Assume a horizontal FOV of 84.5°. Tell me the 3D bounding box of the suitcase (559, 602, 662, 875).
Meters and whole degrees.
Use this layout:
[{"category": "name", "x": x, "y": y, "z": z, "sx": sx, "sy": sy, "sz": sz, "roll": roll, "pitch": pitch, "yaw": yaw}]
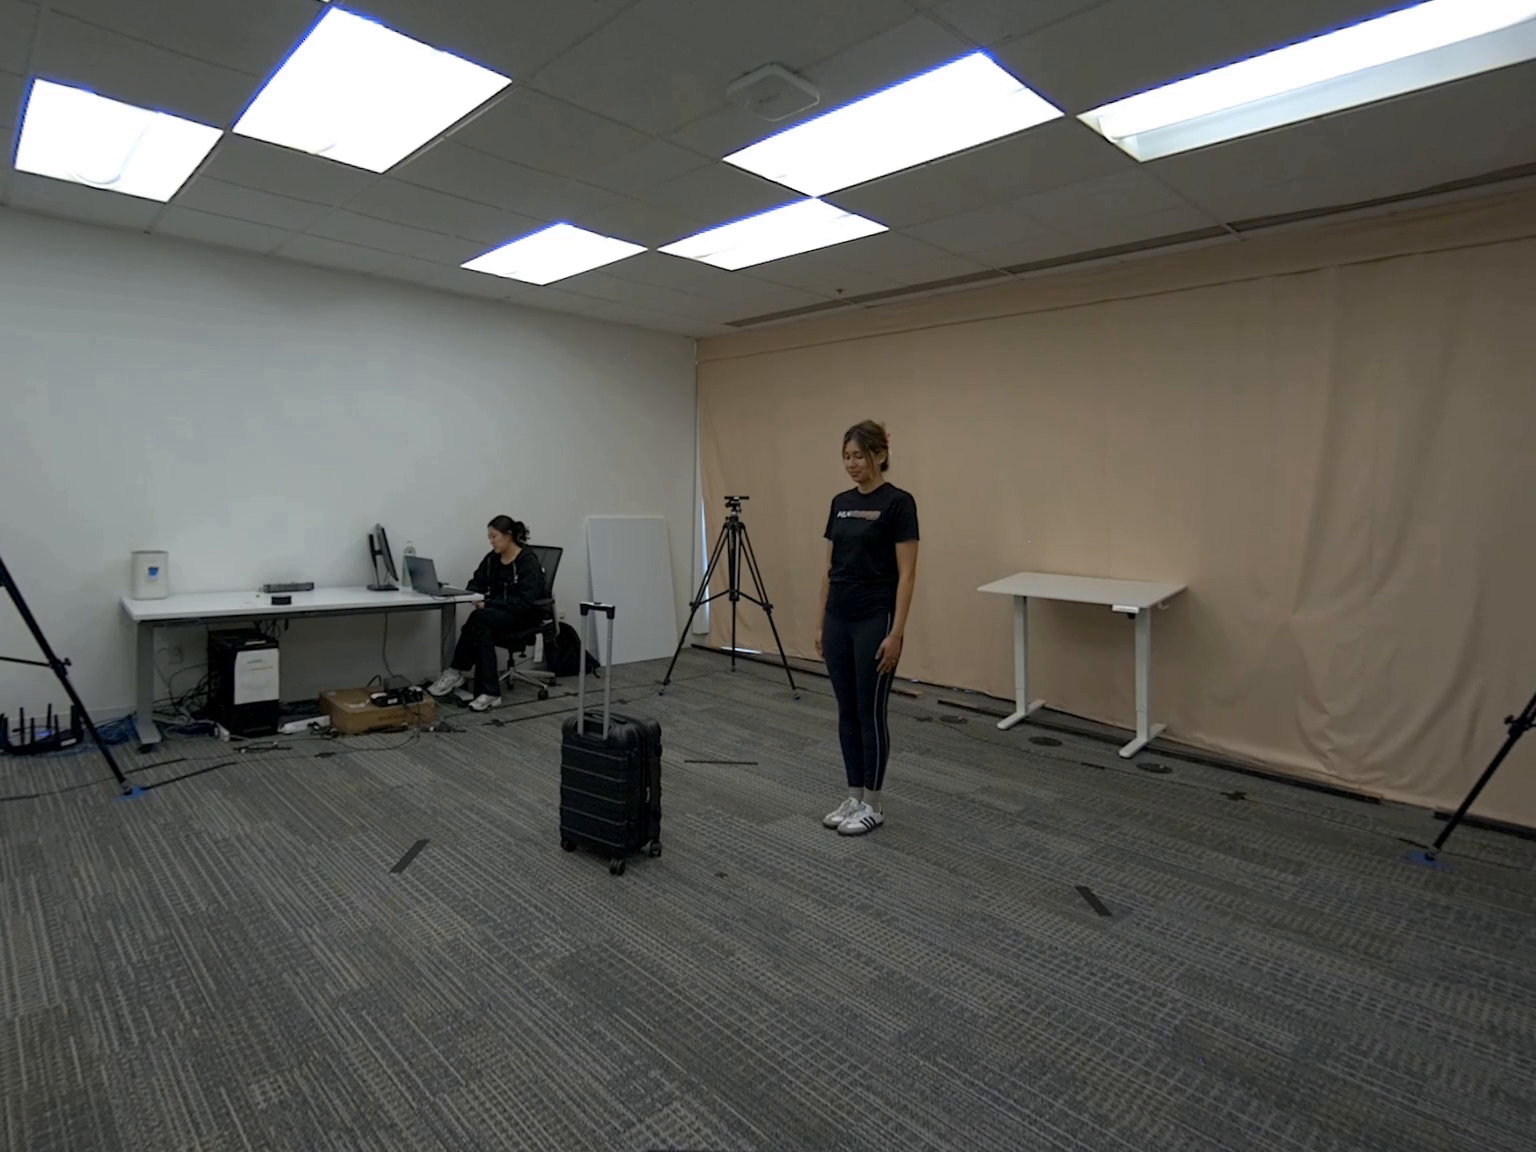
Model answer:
[{"category": "suitcase", "x": -0.615, "y": 0.604, "z": 3.264, "sx": 0.393, "sy": 0.978, "sz": 0.251, "roll": 2, "pitch": 1, "yaw": 33}]
